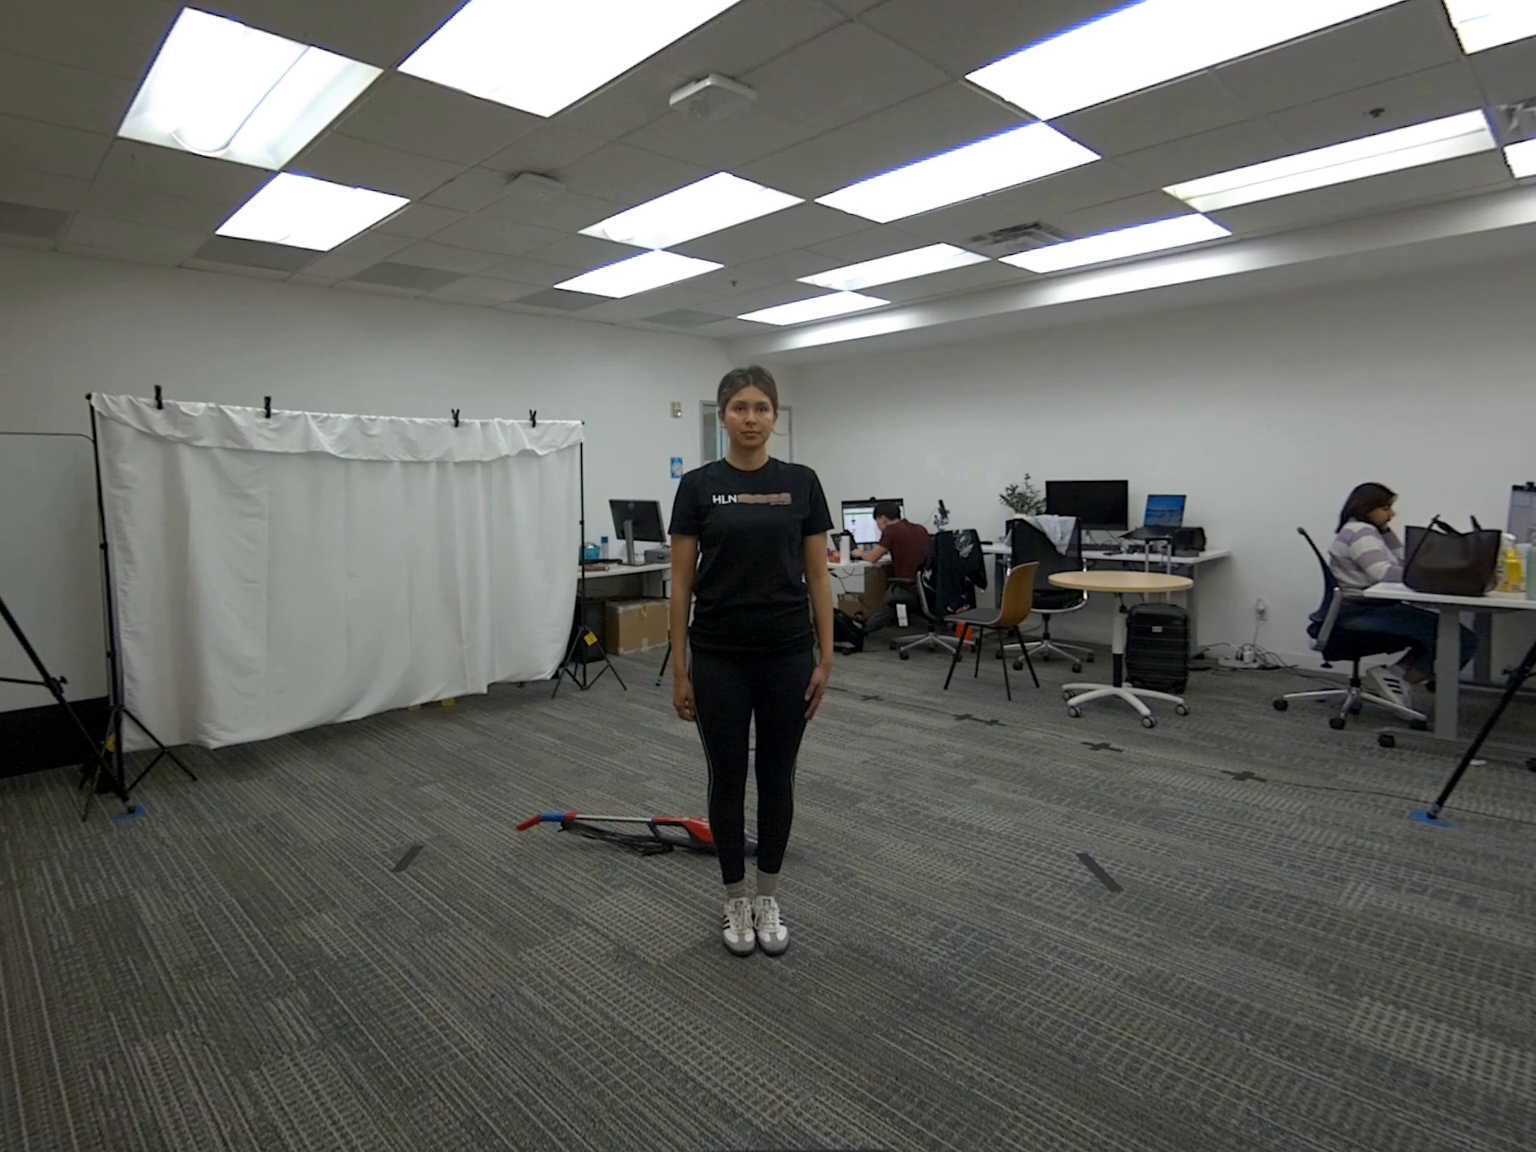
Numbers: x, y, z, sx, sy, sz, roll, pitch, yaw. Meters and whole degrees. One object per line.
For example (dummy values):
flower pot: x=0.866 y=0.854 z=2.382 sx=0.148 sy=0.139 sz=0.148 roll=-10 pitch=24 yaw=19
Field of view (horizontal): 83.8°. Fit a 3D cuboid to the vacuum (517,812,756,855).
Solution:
vacuum: x=-0.446 y=0.978 z=3.240 sx=1.055 sy=0.144 sz=0.251 roll=-1 pitch=2 yaw=6
